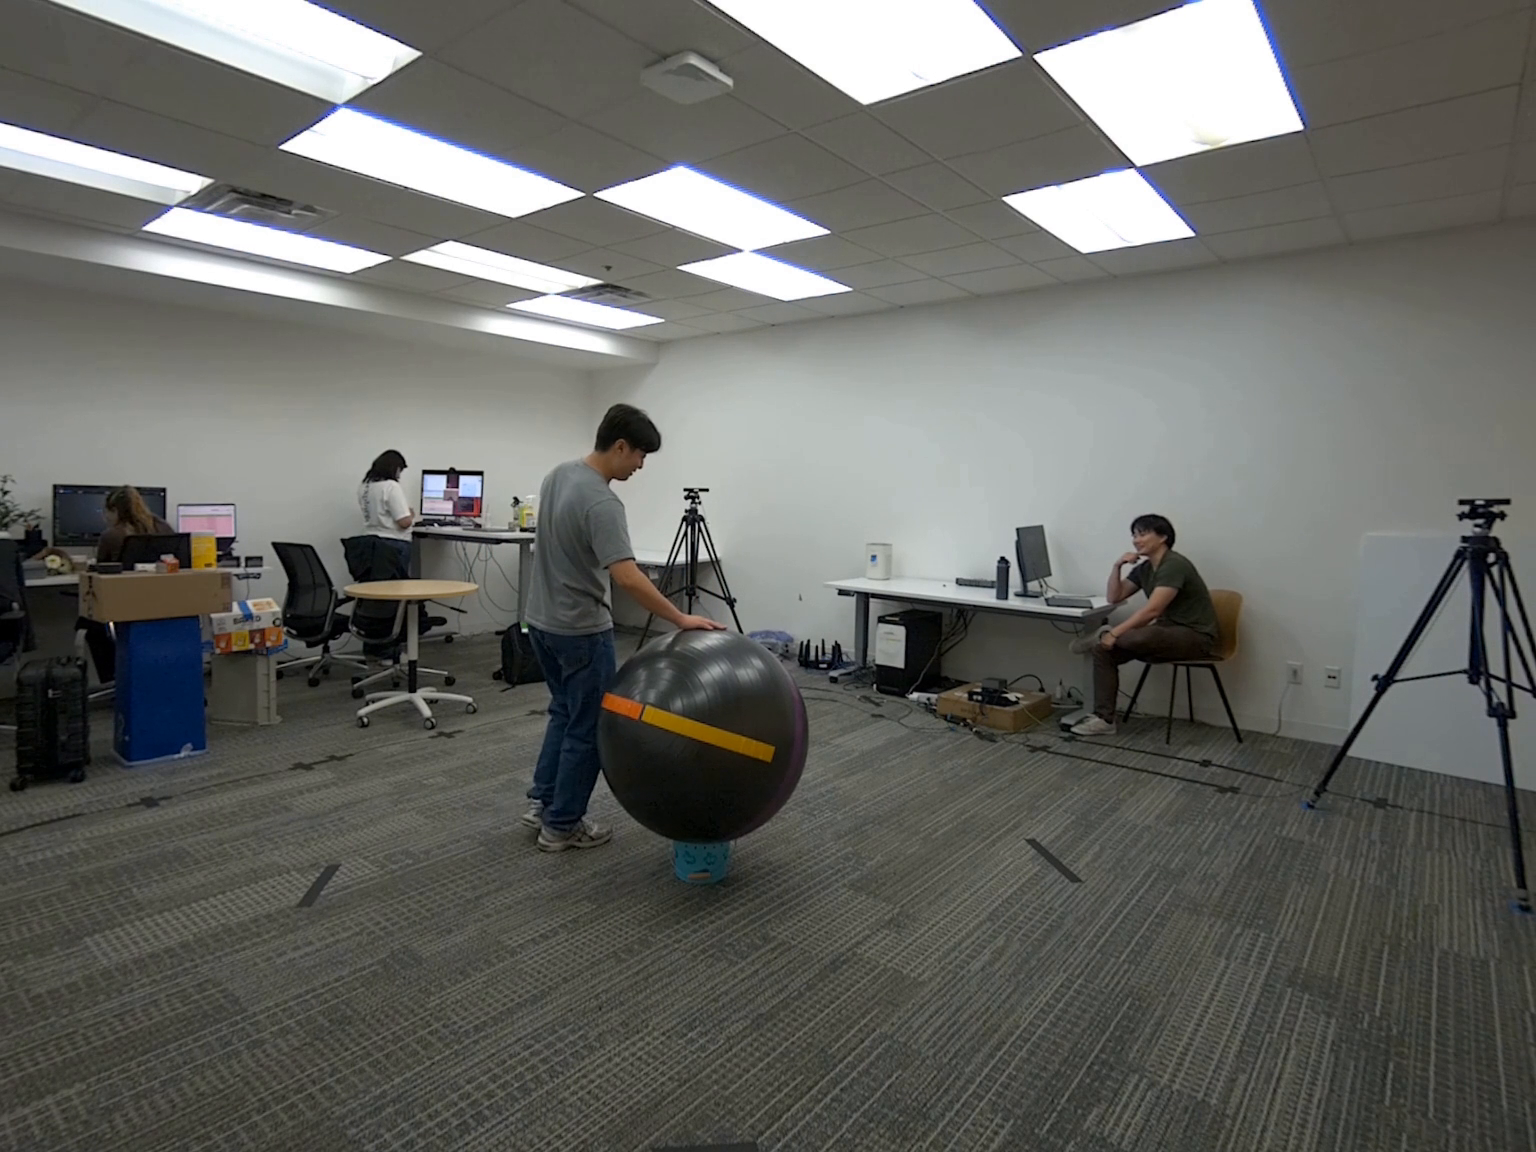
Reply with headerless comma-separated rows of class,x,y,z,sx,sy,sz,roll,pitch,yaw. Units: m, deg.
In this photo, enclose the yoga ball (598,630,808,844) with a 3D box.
yoga ball,-0.242,0.565,3.063,0.757,0.755,0.762,1,4,-2
